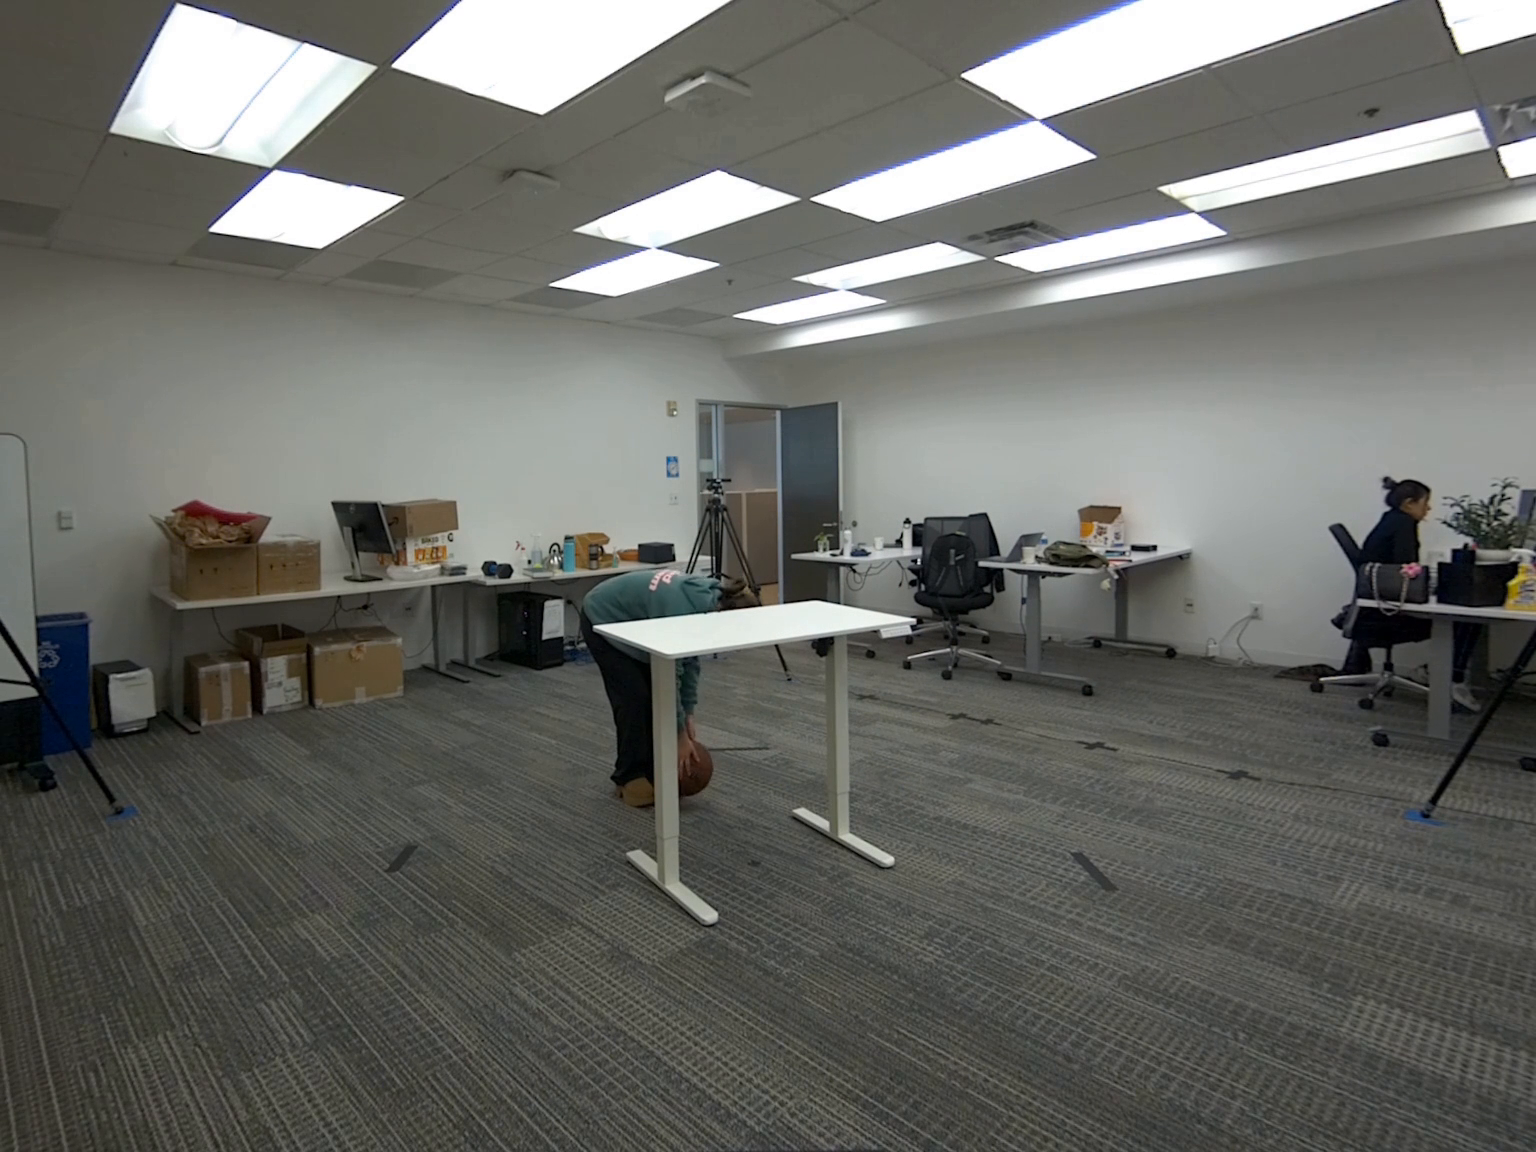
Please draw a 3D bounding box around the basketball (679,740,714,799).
[{"bbox_3d":[-0.352,0.803,3.678,0.236,0.235,0.237,-1,5,-2],"label":"basketball"}]
